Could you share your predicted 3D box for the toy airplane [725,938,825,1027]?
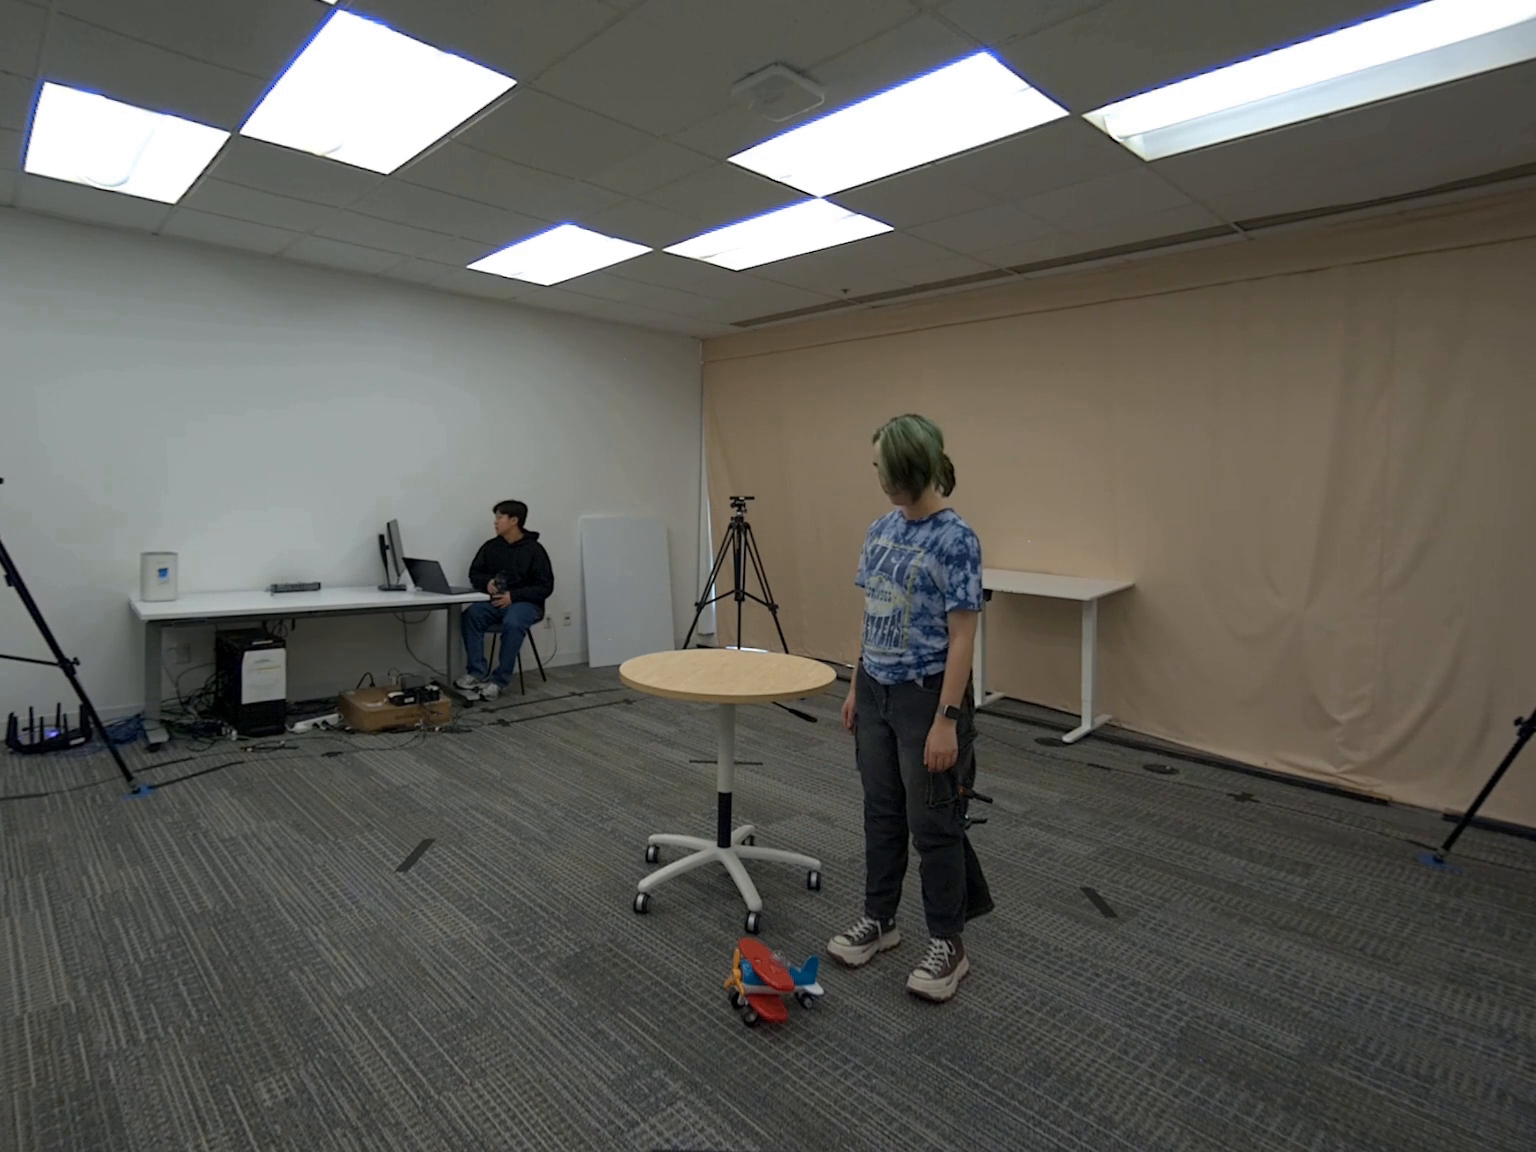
[{"bbox_3d":[0.001,1.106,2.302,0.257,0.156,0.254,5,7,38],"label":"toy airplane"}]
